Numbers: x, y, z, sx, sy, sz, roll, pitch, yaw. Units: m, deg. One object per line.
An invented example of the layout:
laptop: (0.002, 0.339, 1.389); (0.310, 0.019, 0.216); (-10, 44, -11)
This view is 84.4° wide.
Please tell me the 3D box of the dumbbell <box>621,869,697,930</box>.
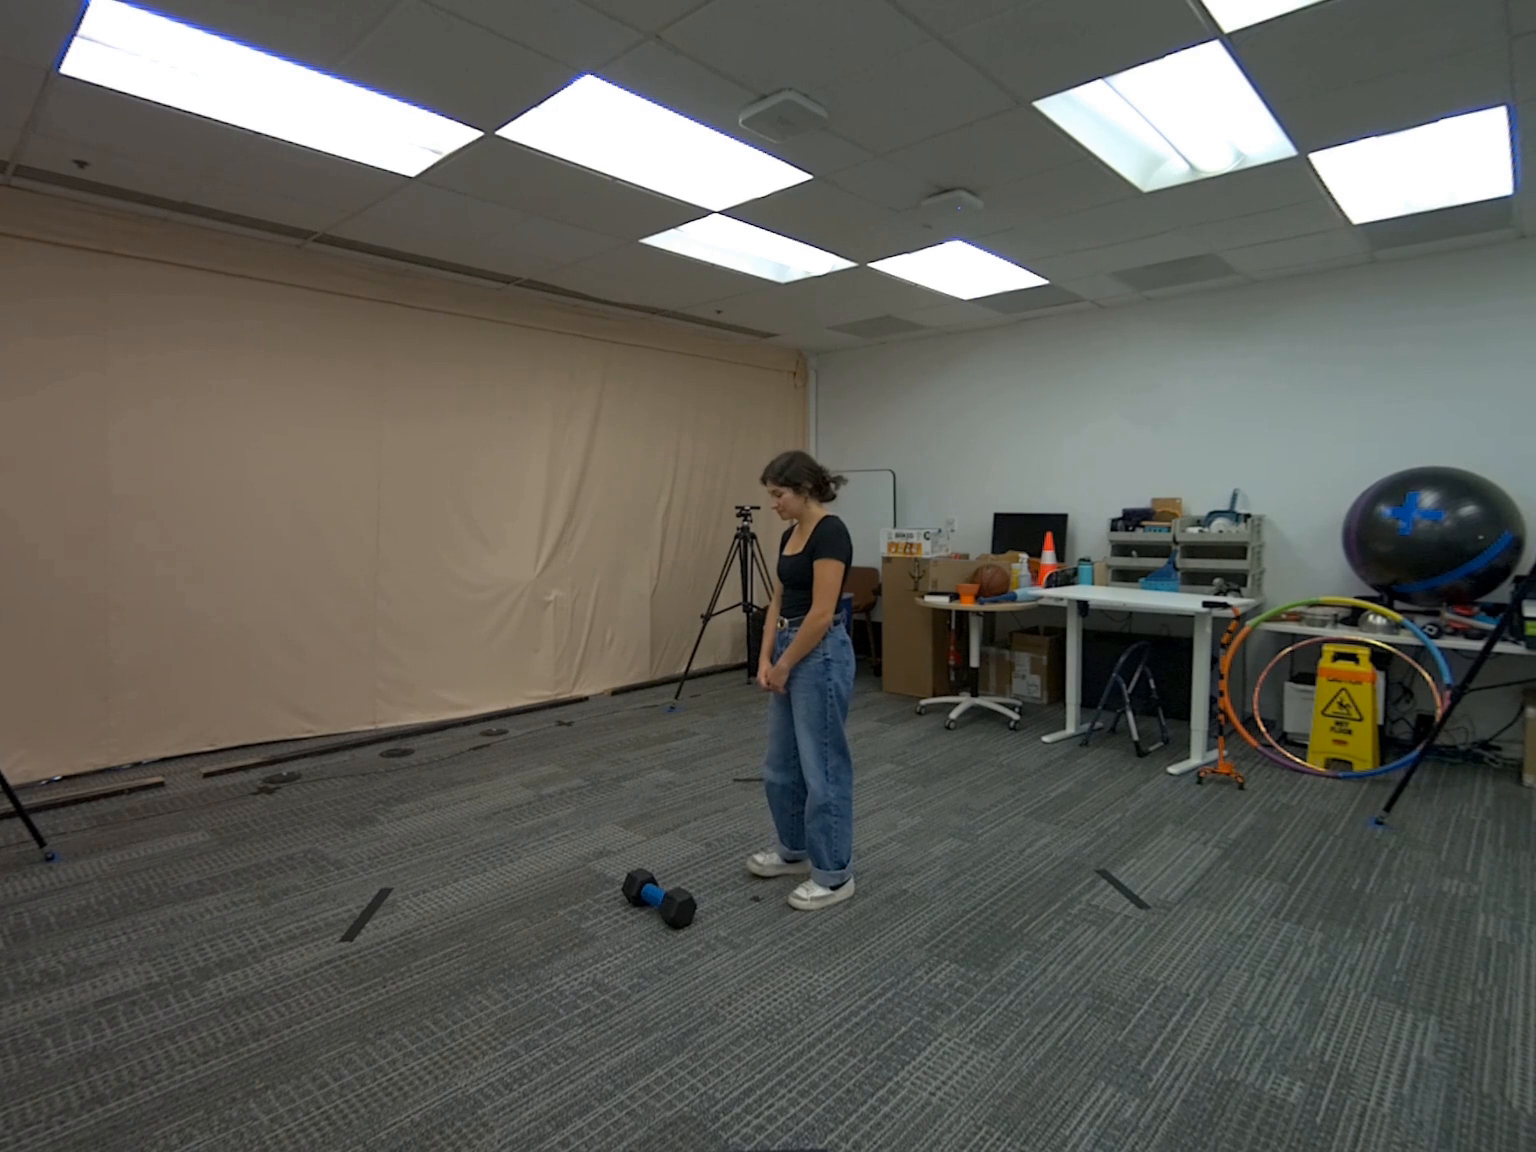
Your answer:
dumbbell: (-0.373, 1.103, 2.879); (0.303, 0.120, 0.107); (4, 36, 46)
